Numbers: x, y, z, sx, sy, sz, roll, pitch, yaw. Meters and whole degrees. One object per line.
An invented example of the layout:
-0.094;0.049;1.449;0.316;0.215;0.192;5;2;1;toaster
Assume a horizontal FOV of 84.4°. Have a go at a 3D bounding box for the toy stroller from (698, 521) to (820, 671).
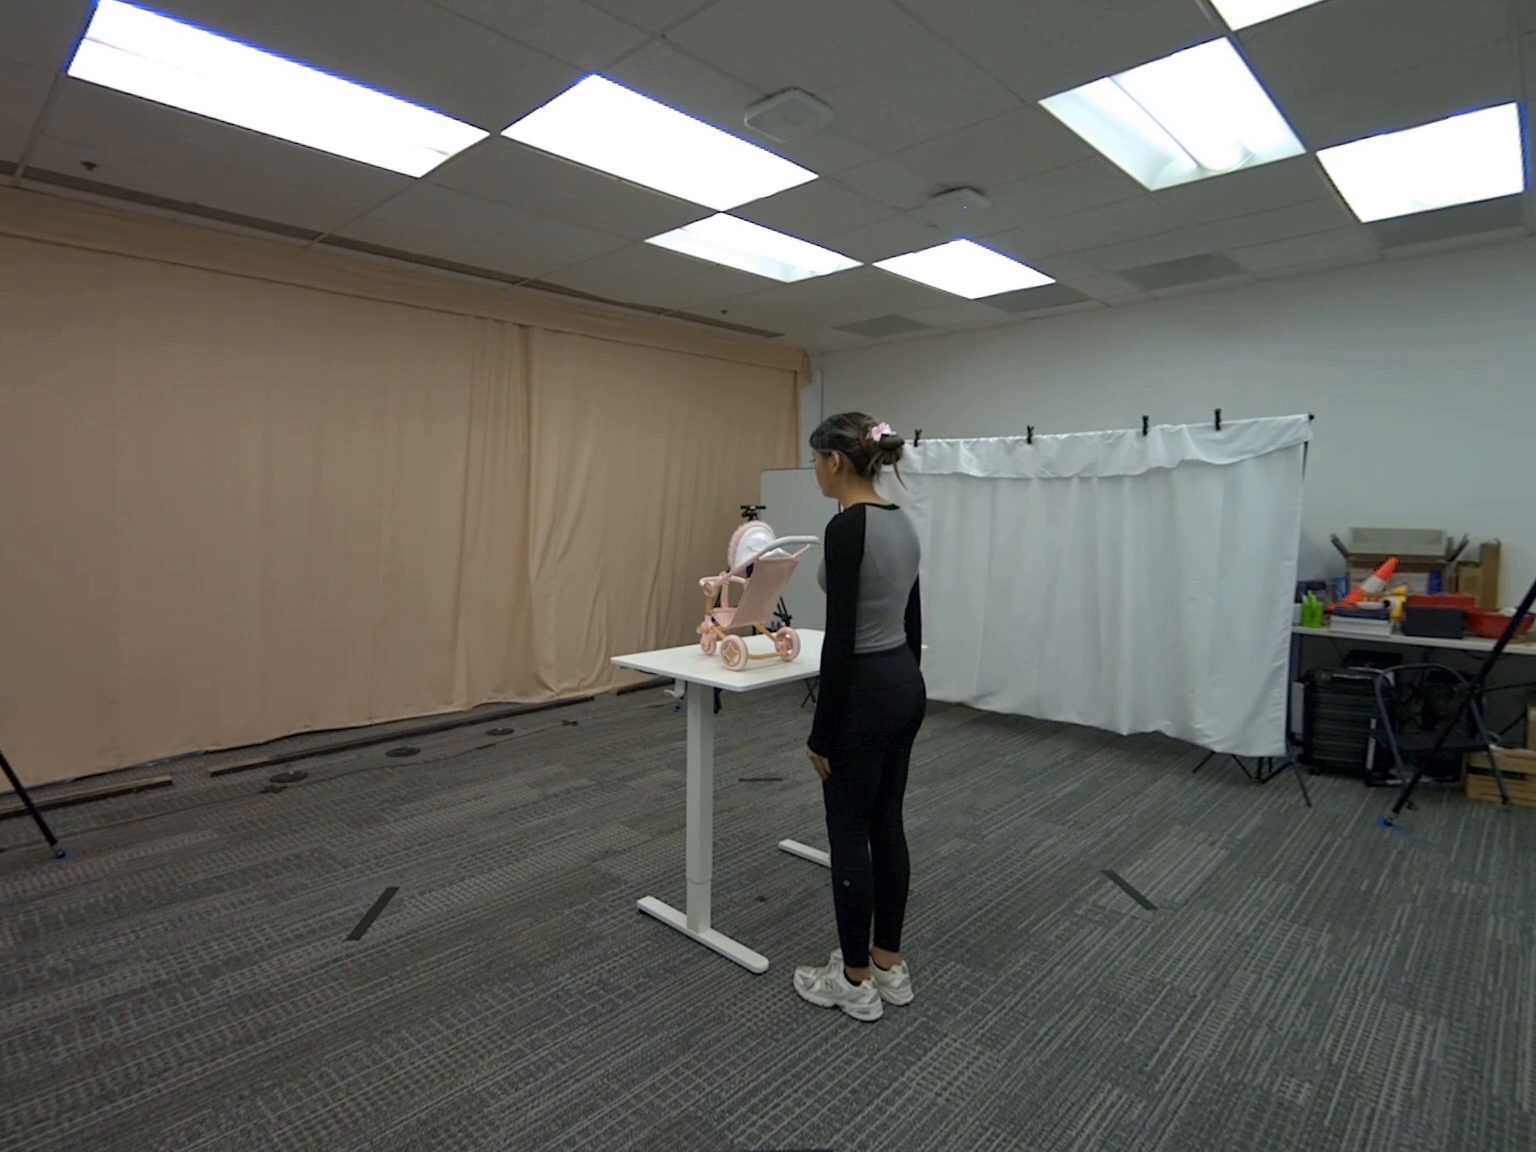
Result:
-0.058;0.060;2.712;0.273;0.531;0.354;-2;22;-41;toy stroller
